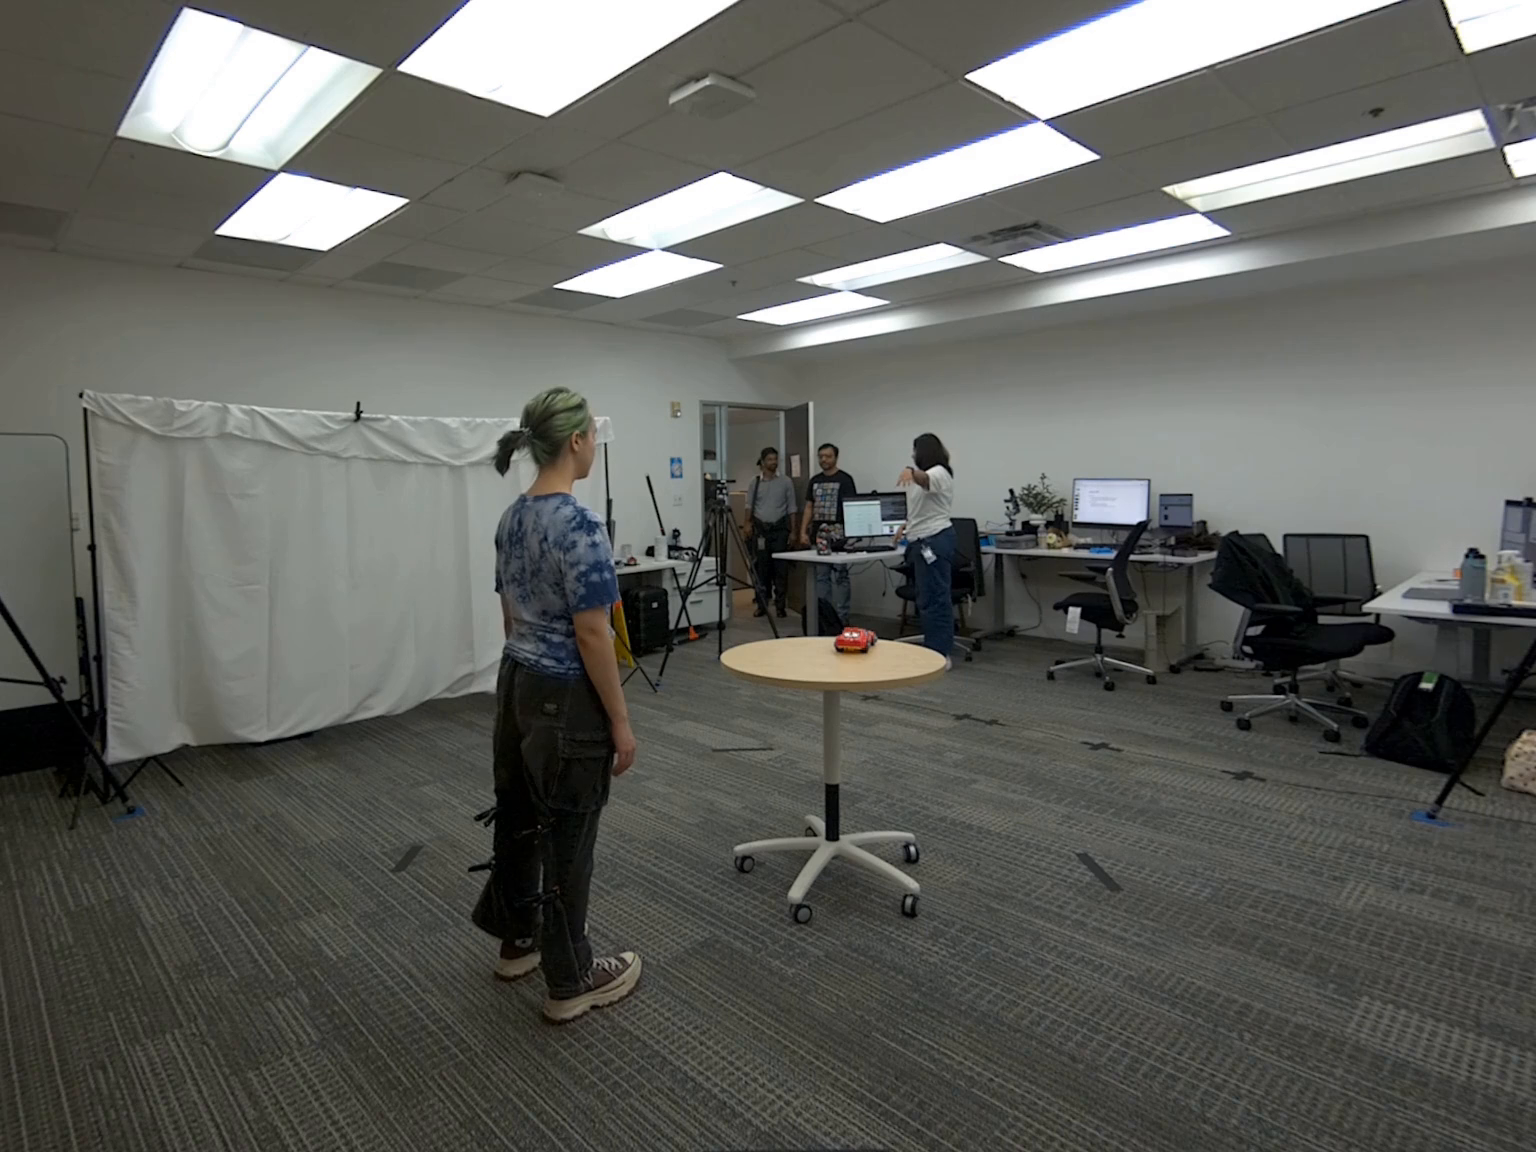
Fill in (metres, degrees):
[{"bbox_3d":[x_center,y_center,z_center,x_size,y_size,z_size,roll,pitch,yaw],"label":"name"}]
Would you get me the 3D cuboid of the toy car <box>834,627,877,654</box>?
[{"bbox_3d":[0.317,0.232,3.068,0.132,0.084,0.249,1,-5,17],"label":"toy car"}]
